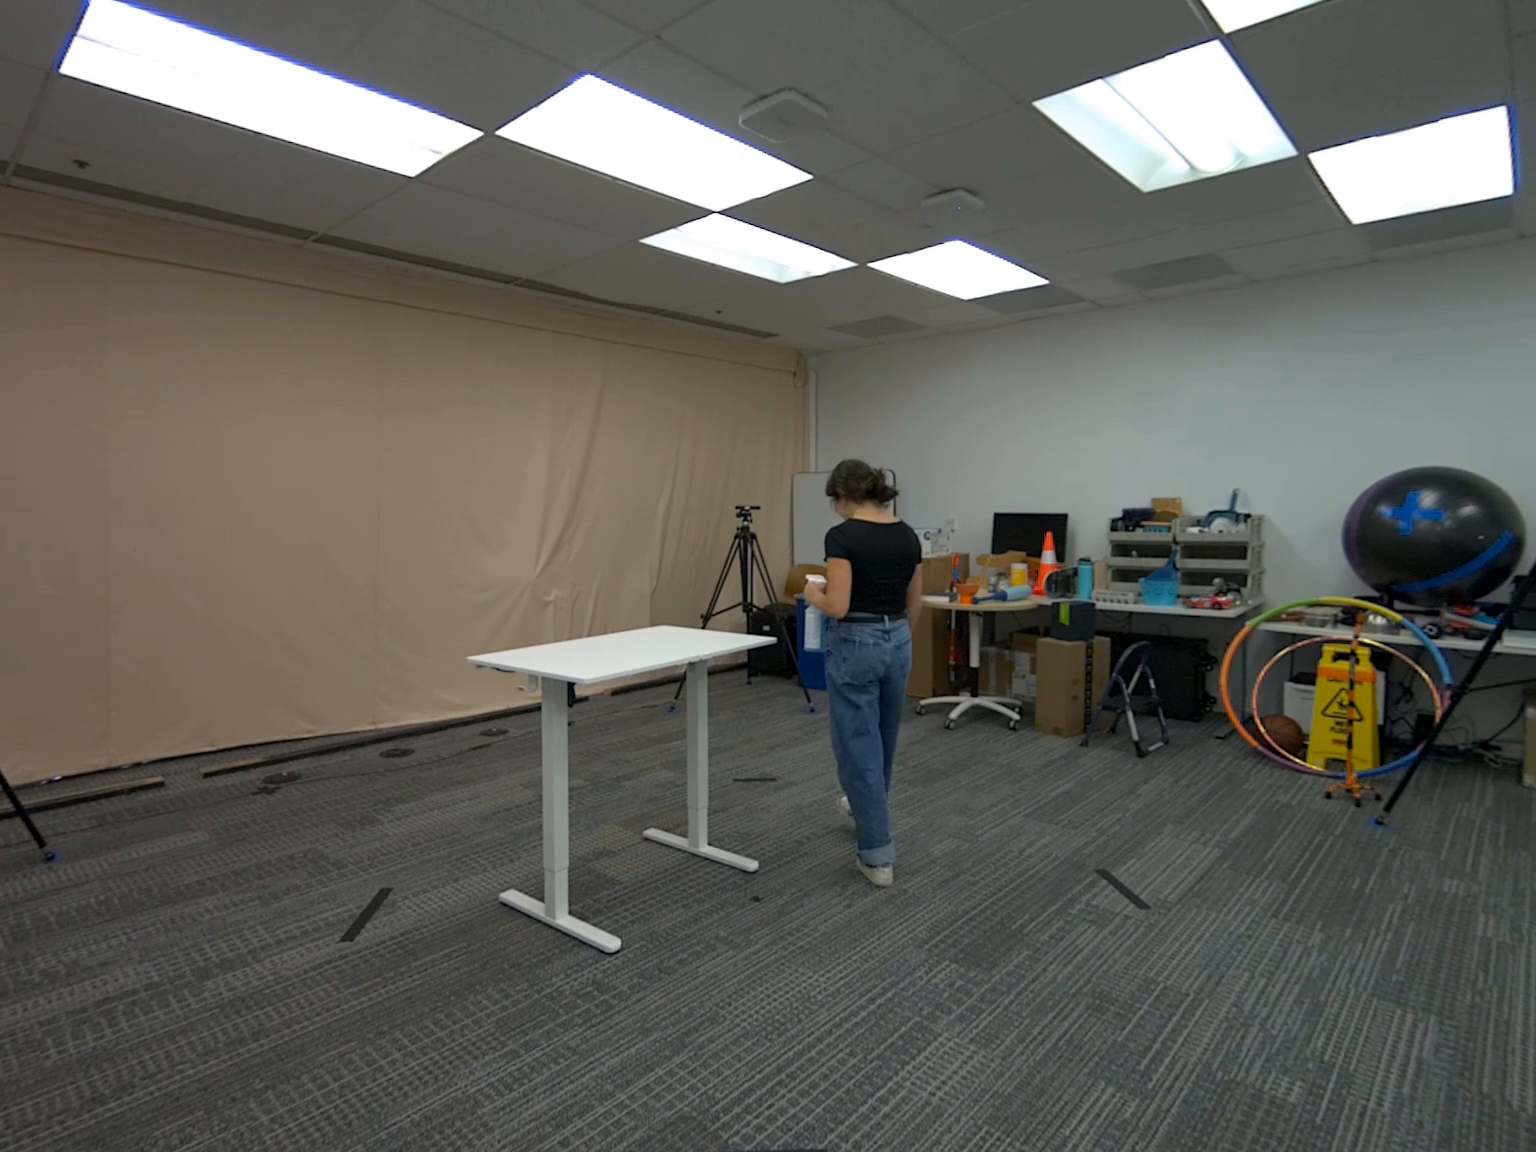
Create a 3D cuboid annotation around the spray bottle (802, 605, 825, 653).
[{"bbox_3d":[0.205,0.149,3.272,0.085,0.298,0.092,1,-3,-26],"label":"spray bottle"}]
